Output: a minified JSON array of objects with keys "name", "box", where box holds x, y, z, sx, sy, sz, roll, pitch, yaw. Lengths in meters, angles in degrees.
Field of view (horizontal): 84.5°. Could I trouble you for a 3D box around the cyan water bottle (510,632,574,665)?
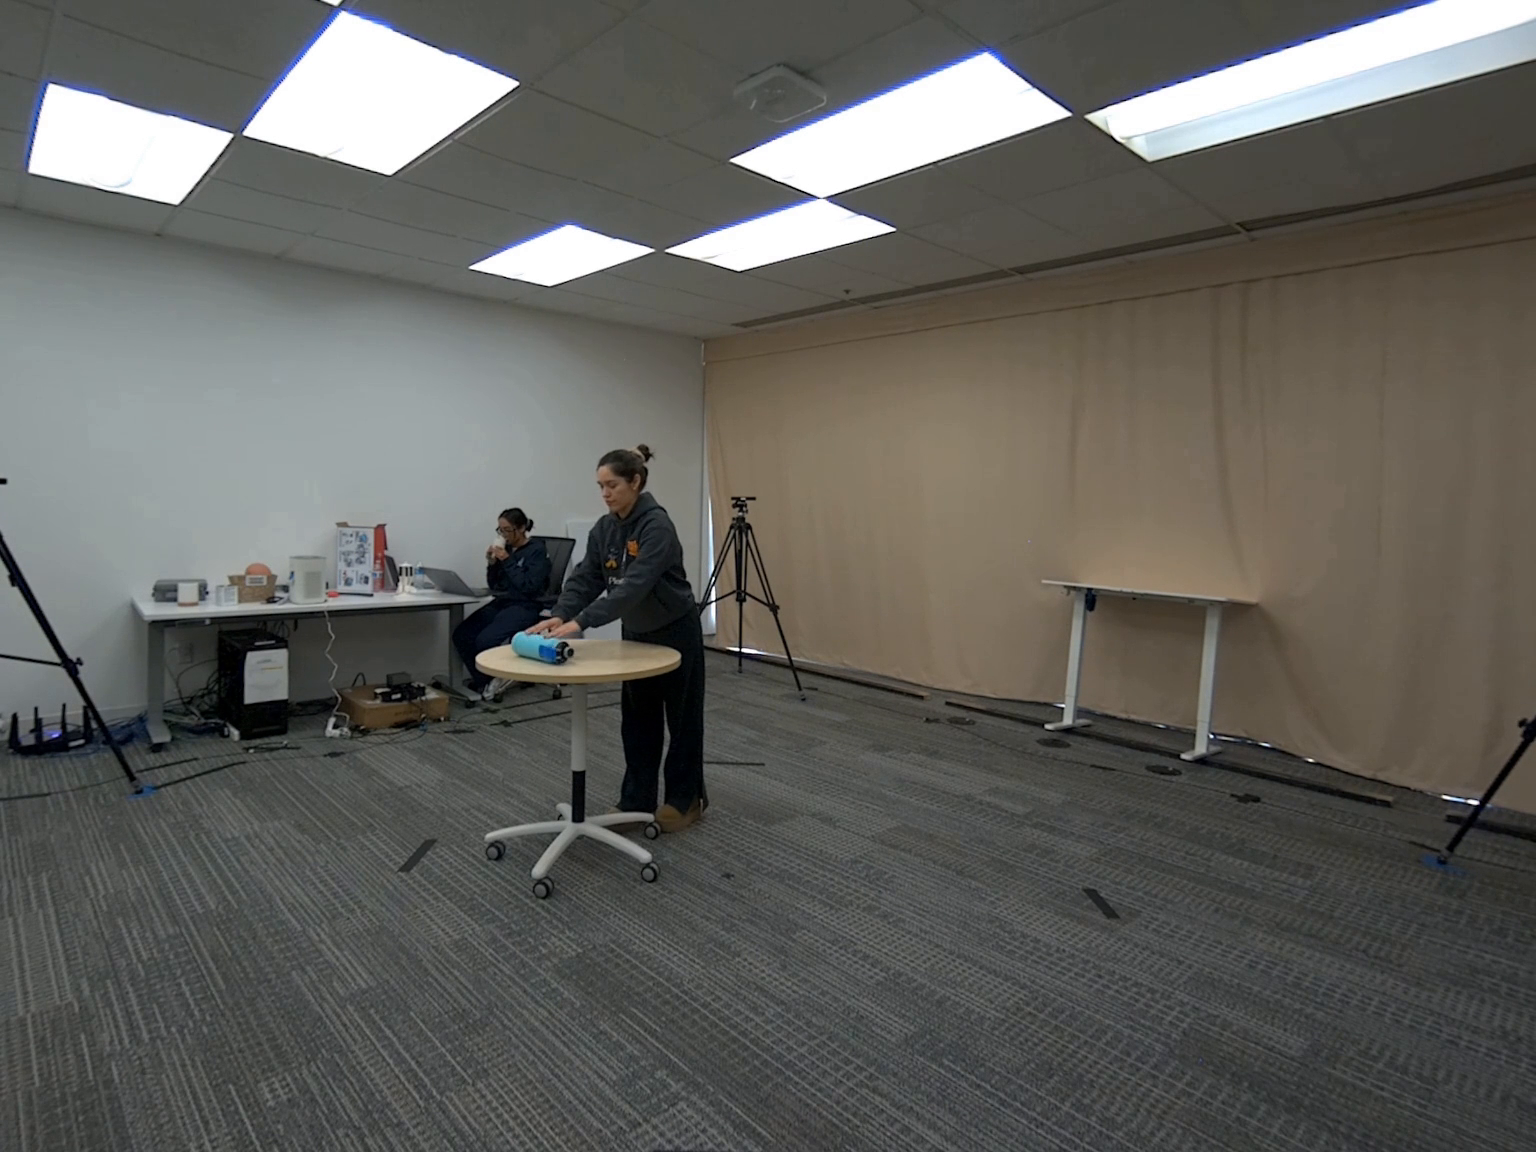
[{"name":"cyan water bottle","box":[-0.829,0.266,3.090,0.291,0.092,0.090,6,7,40]}]
